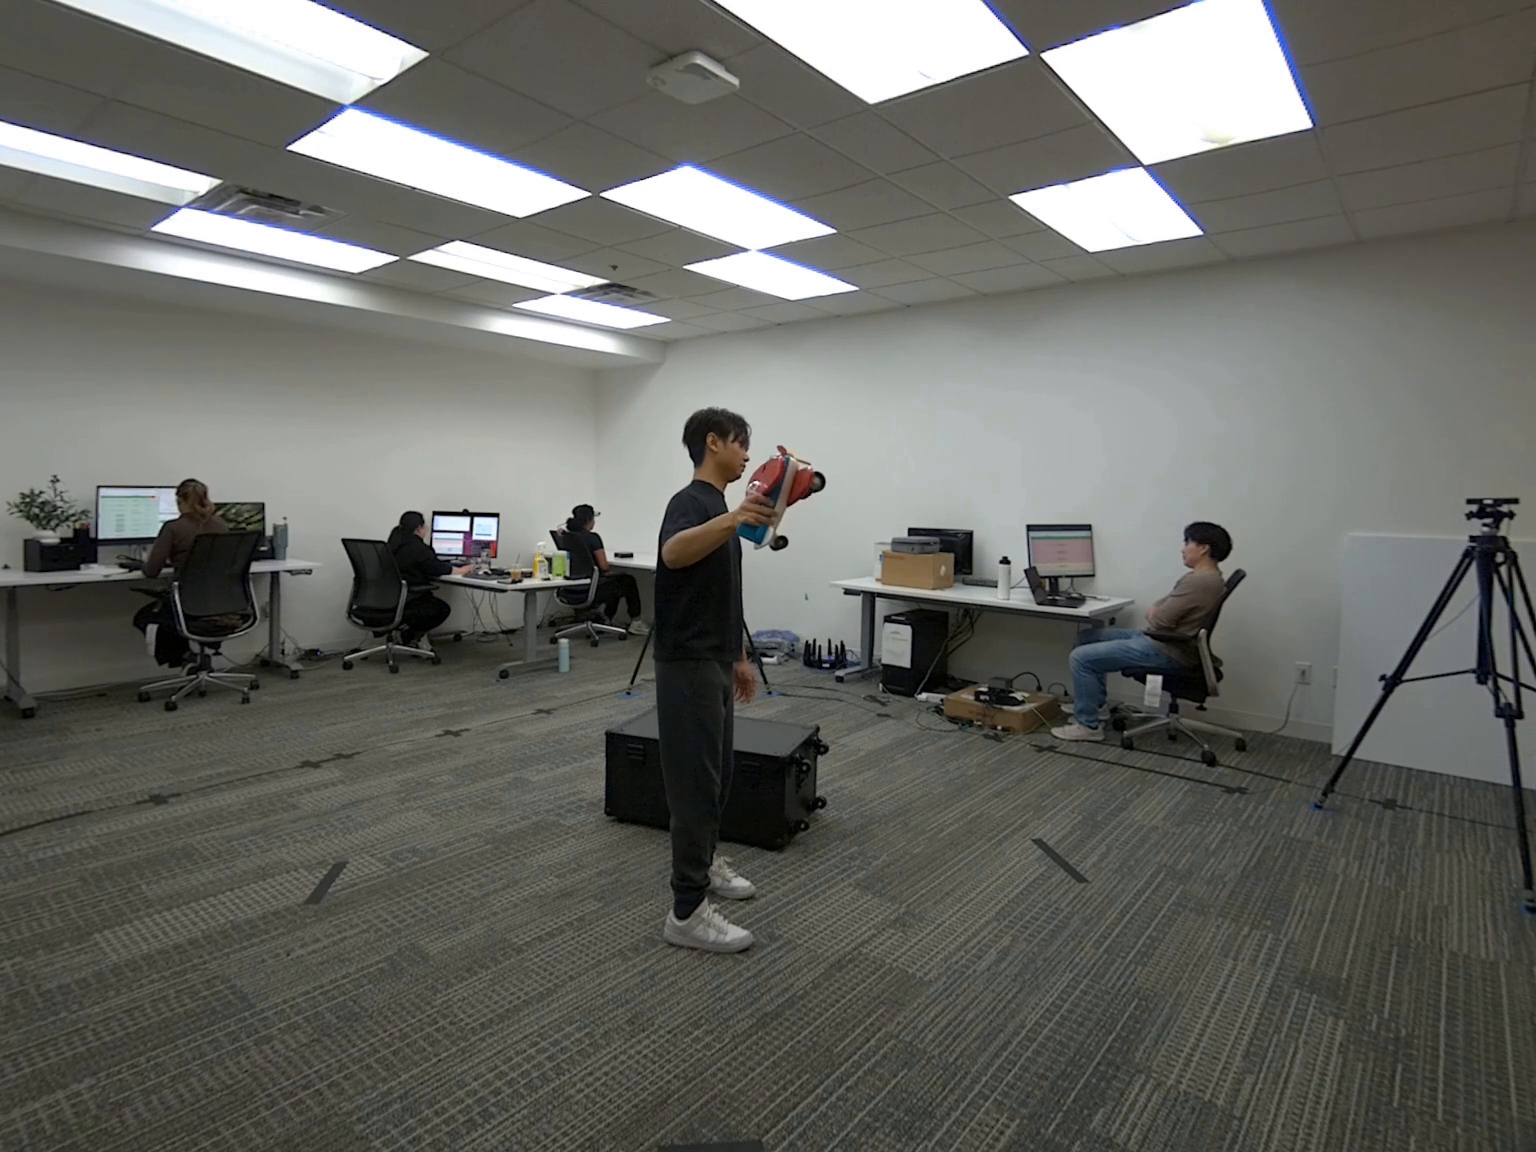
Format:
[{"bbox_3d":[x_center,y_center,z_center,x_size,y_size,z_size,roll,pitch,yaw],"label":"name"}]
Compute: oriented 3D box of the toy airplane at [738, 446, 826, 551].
[{"bbox_3d":[0.022,-0.192,2.169,0.155,0.262,0.251,34,-43,-10],"label":"toy airplane"}]
